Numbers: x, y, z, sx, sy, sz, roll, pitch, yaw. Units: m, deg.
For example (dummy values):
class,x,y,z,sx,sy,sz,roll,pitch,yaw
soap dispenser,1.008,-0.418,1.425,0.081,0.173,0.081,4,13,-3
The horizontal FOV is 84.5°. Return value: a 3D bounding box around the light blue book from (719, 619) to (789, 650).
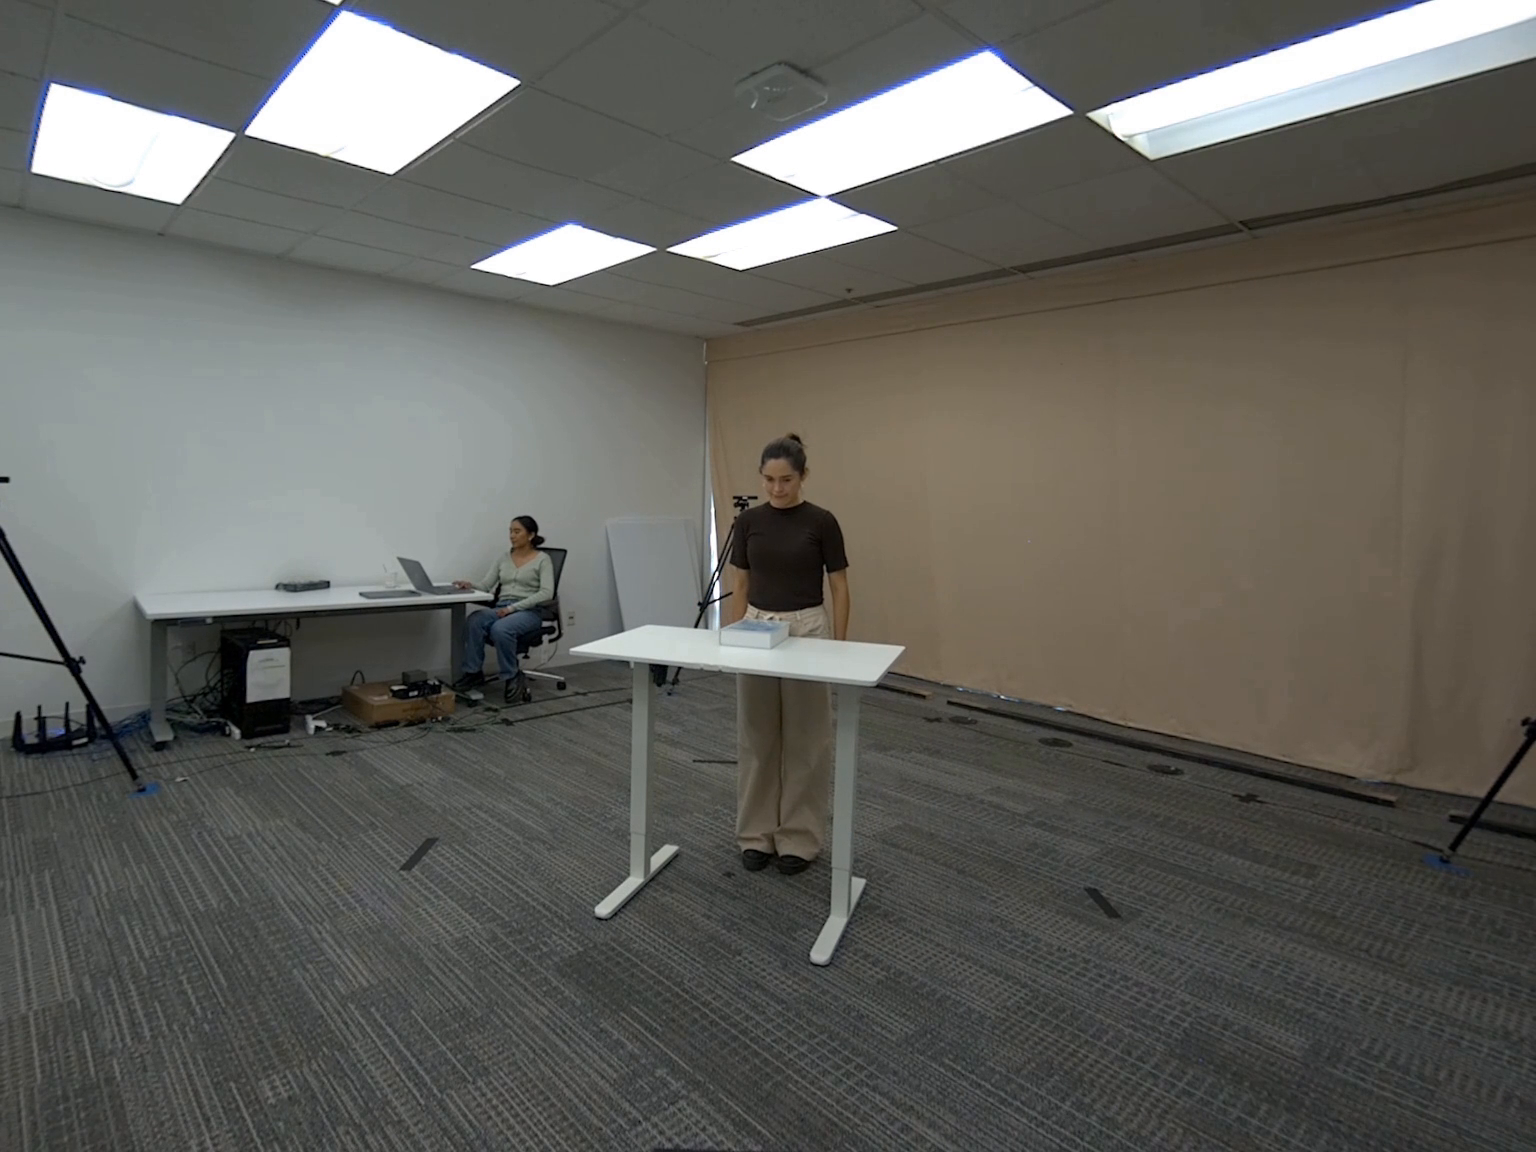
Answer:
class,x,y,z,sx,sy,sz,roll,pitch,yaw
light blue book,-0.054,0.207,2.990,0.194,0.059,0.258,3,6,15
